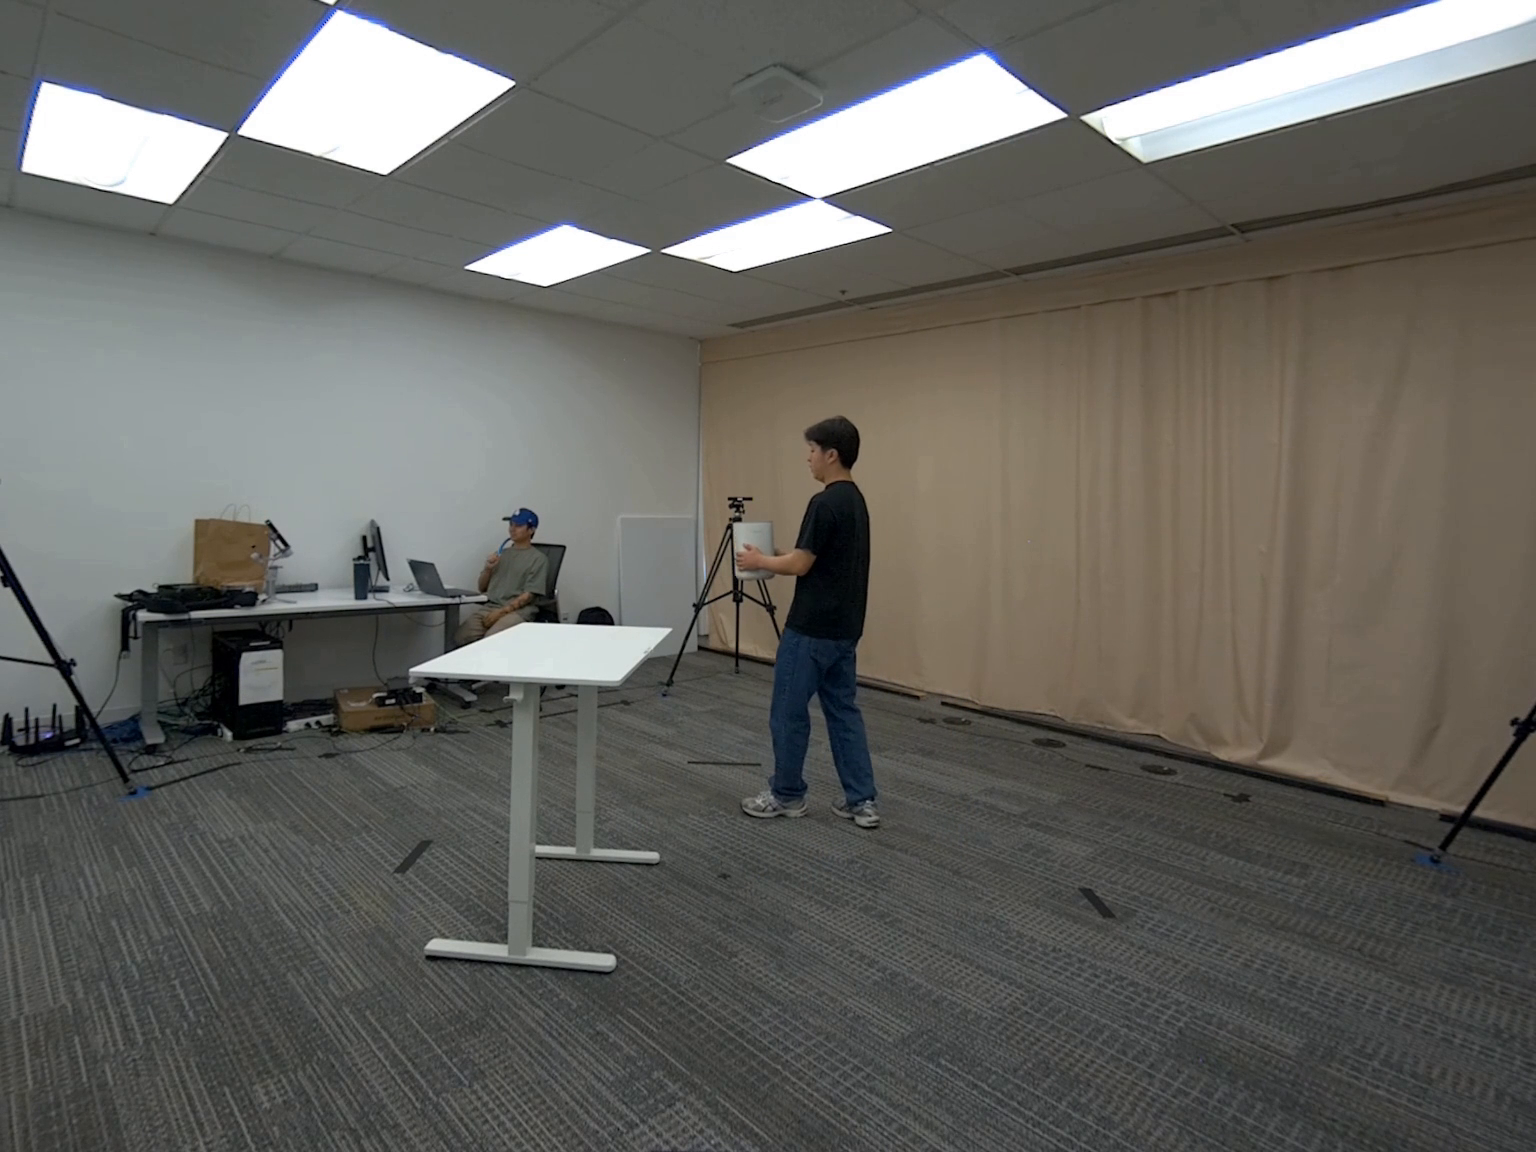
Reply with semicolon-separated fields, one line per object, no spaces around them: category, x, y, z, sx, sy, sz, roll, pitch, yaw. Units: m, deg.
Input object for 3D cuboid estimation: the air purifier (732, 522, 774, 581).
air purifier;-0.069;-0.115;3.842;0.169;0.265;0.174;-3;2;-16
